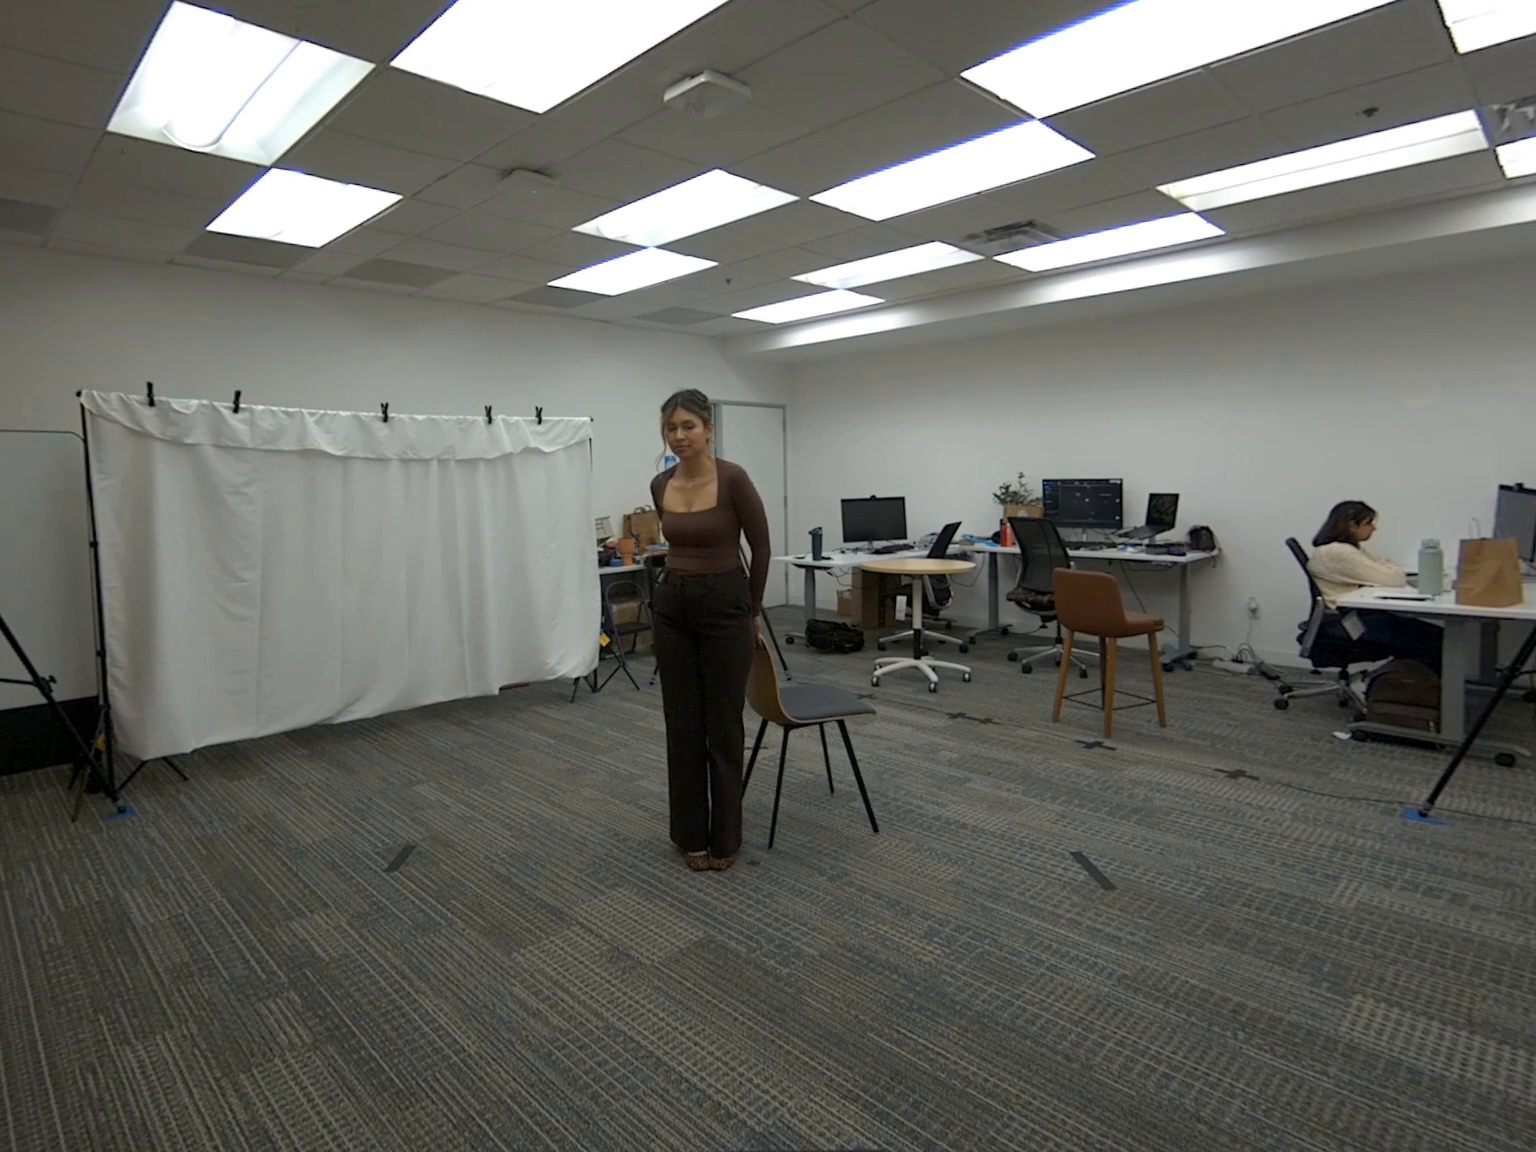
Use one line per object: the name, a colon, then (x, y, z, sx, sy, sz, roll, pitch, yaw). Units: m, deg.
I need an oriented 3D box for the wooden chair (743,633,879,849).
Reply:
wooden chair: (0.138, 0.568, 3.460, 0.516, 0.873, 0.487, -7, 6, -17)
